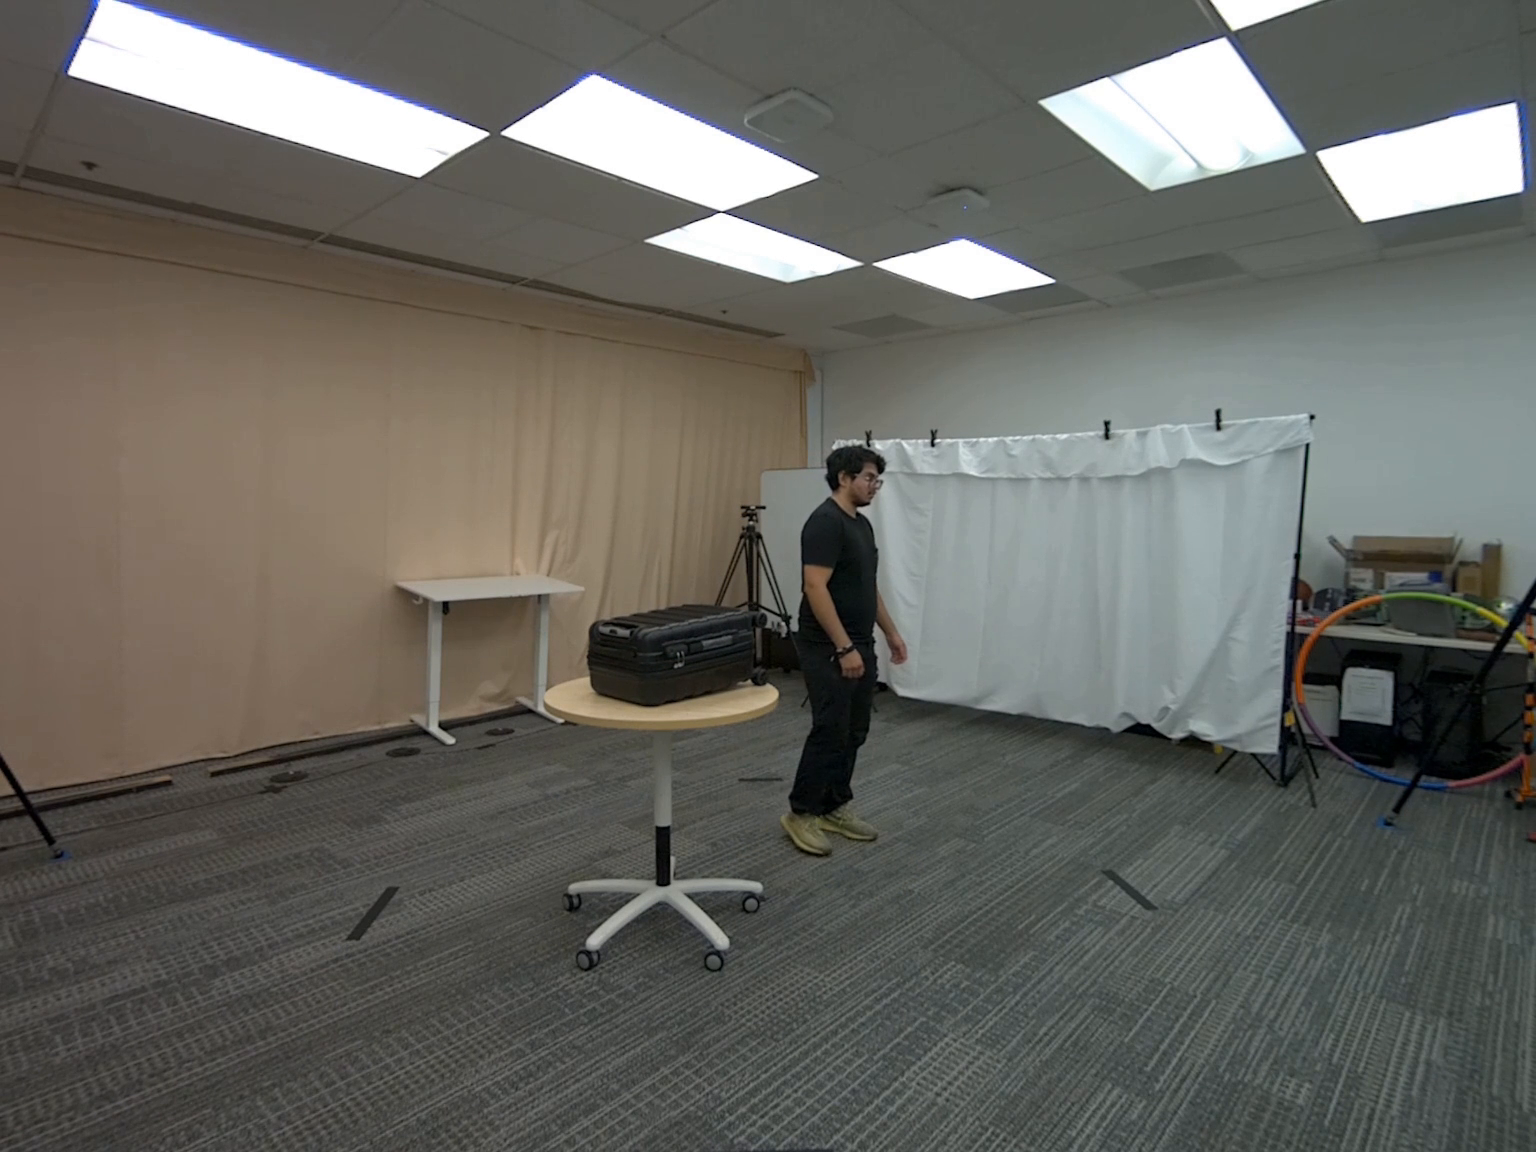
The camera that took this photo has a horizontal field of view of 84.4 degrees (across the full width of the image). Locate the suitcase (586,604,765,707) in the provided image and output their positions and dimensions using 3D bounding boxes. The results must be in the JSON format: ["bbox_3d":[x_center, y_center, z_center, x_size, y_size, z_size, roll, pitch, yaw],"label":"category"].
[{"bbox_3d":[-0.304,0.254,2.795,0.388,0.247,0.533,5,8,45],"label":"suitcase"}]
